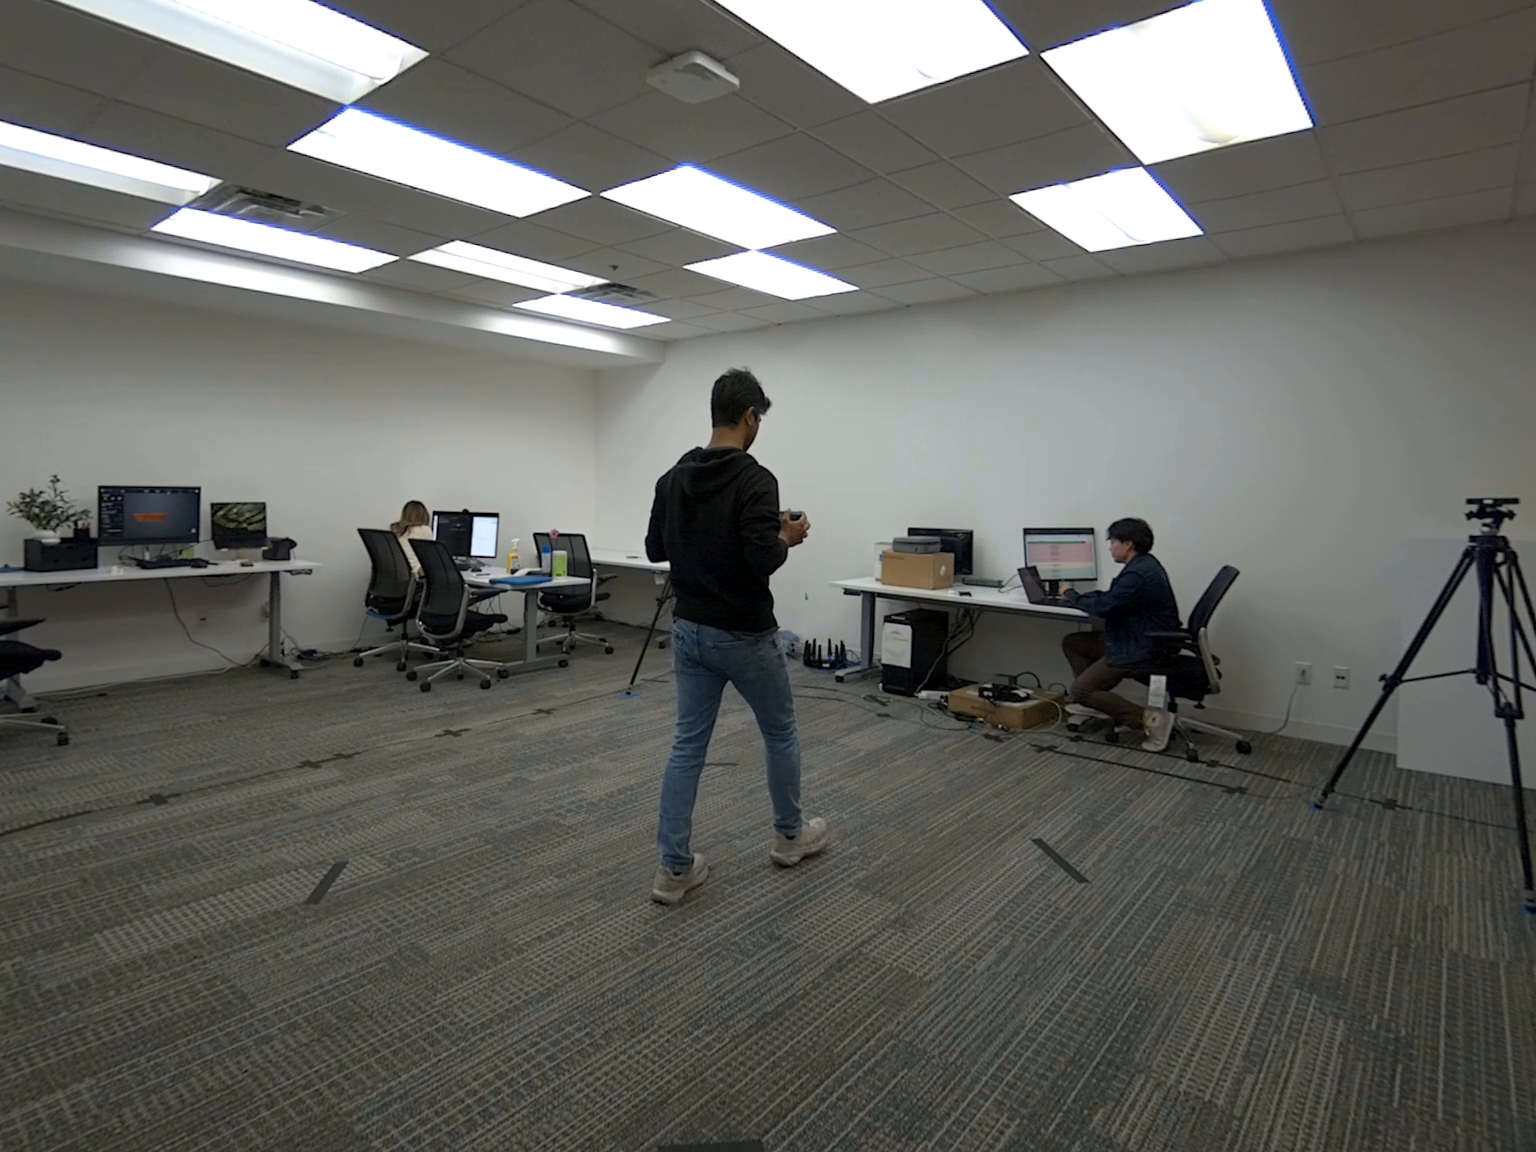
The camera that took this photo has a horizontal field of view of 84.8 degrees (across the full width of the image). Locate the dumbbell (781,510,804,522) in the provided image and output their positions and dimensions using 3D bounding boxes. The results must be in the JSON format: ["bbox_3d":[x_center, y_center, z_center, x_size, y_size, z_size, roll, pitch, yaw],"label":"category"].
[{"bbox_3d":[-0.015,-0.190,3.129,0.304,0.124,0.104,8,-23,43],"label":"dumbbell"}]
